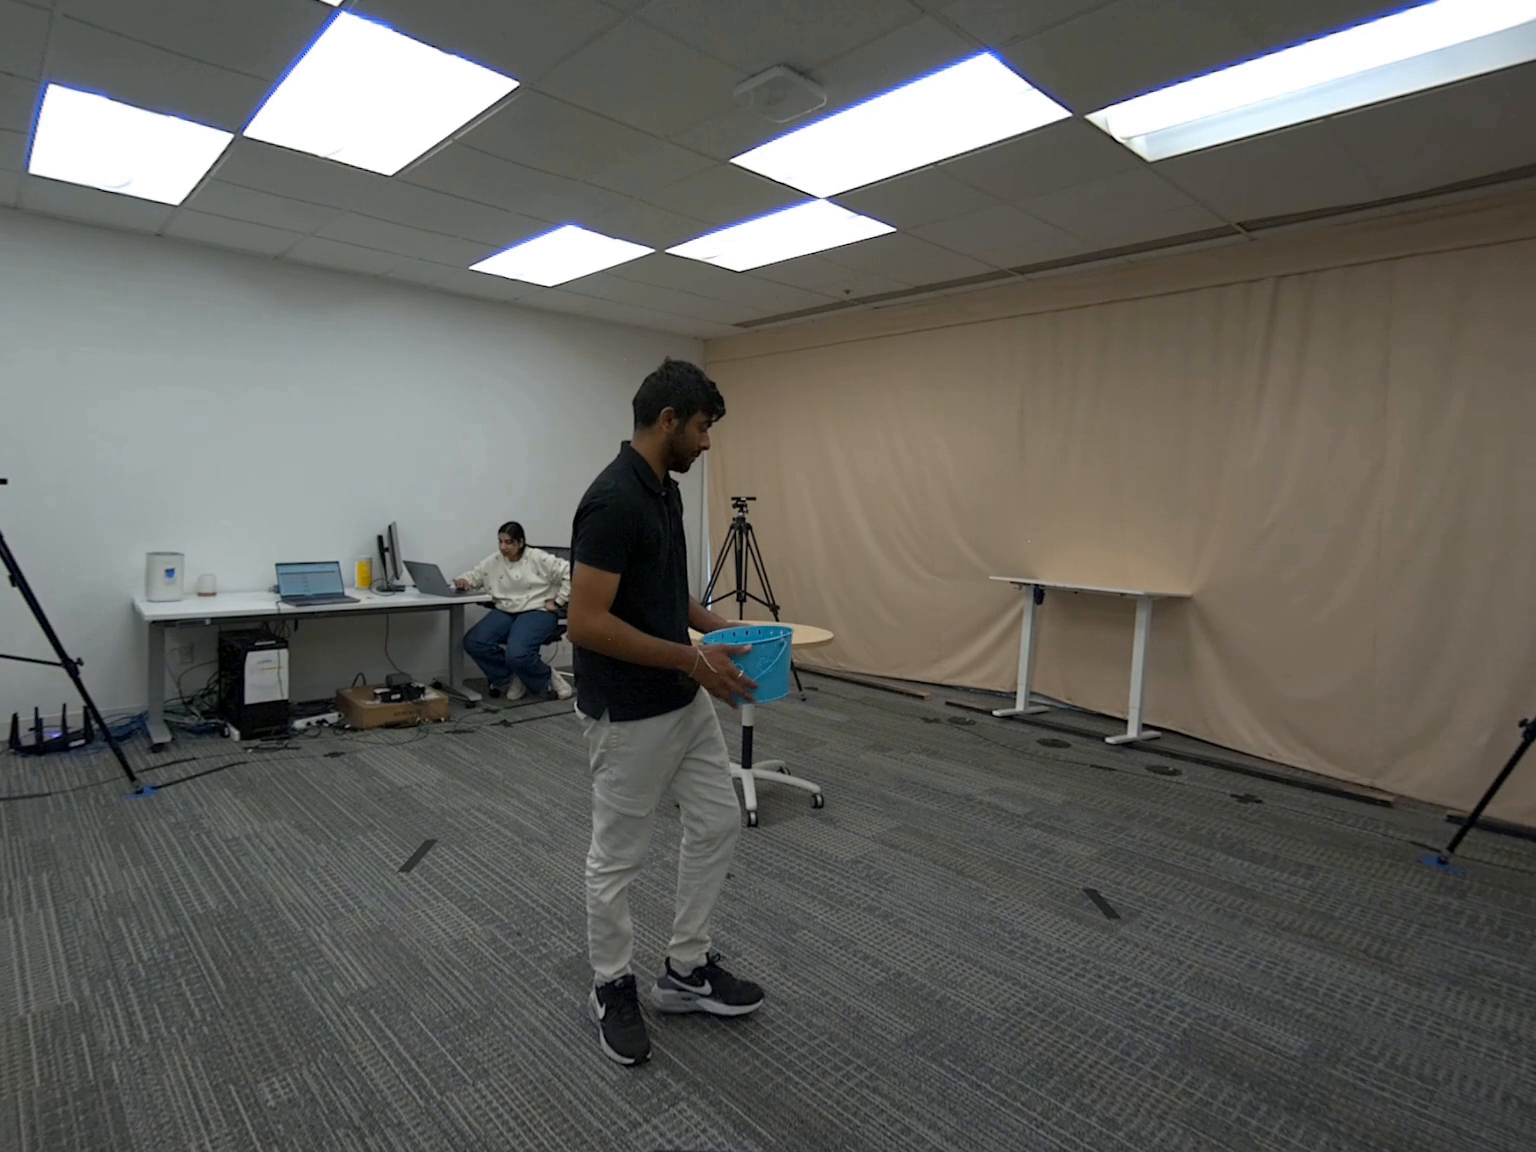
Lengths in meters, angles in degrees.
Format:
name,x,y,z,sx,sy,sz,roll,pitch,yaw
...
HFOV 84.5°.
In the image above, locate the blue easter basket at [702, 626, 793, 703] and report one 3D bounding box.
name,x,y,z,sx,sy,sz,roll,pitch,yaw
blue easter basket,-0.073,0.226,2.057,0.243,0.155,0.244,-4,6,-1
